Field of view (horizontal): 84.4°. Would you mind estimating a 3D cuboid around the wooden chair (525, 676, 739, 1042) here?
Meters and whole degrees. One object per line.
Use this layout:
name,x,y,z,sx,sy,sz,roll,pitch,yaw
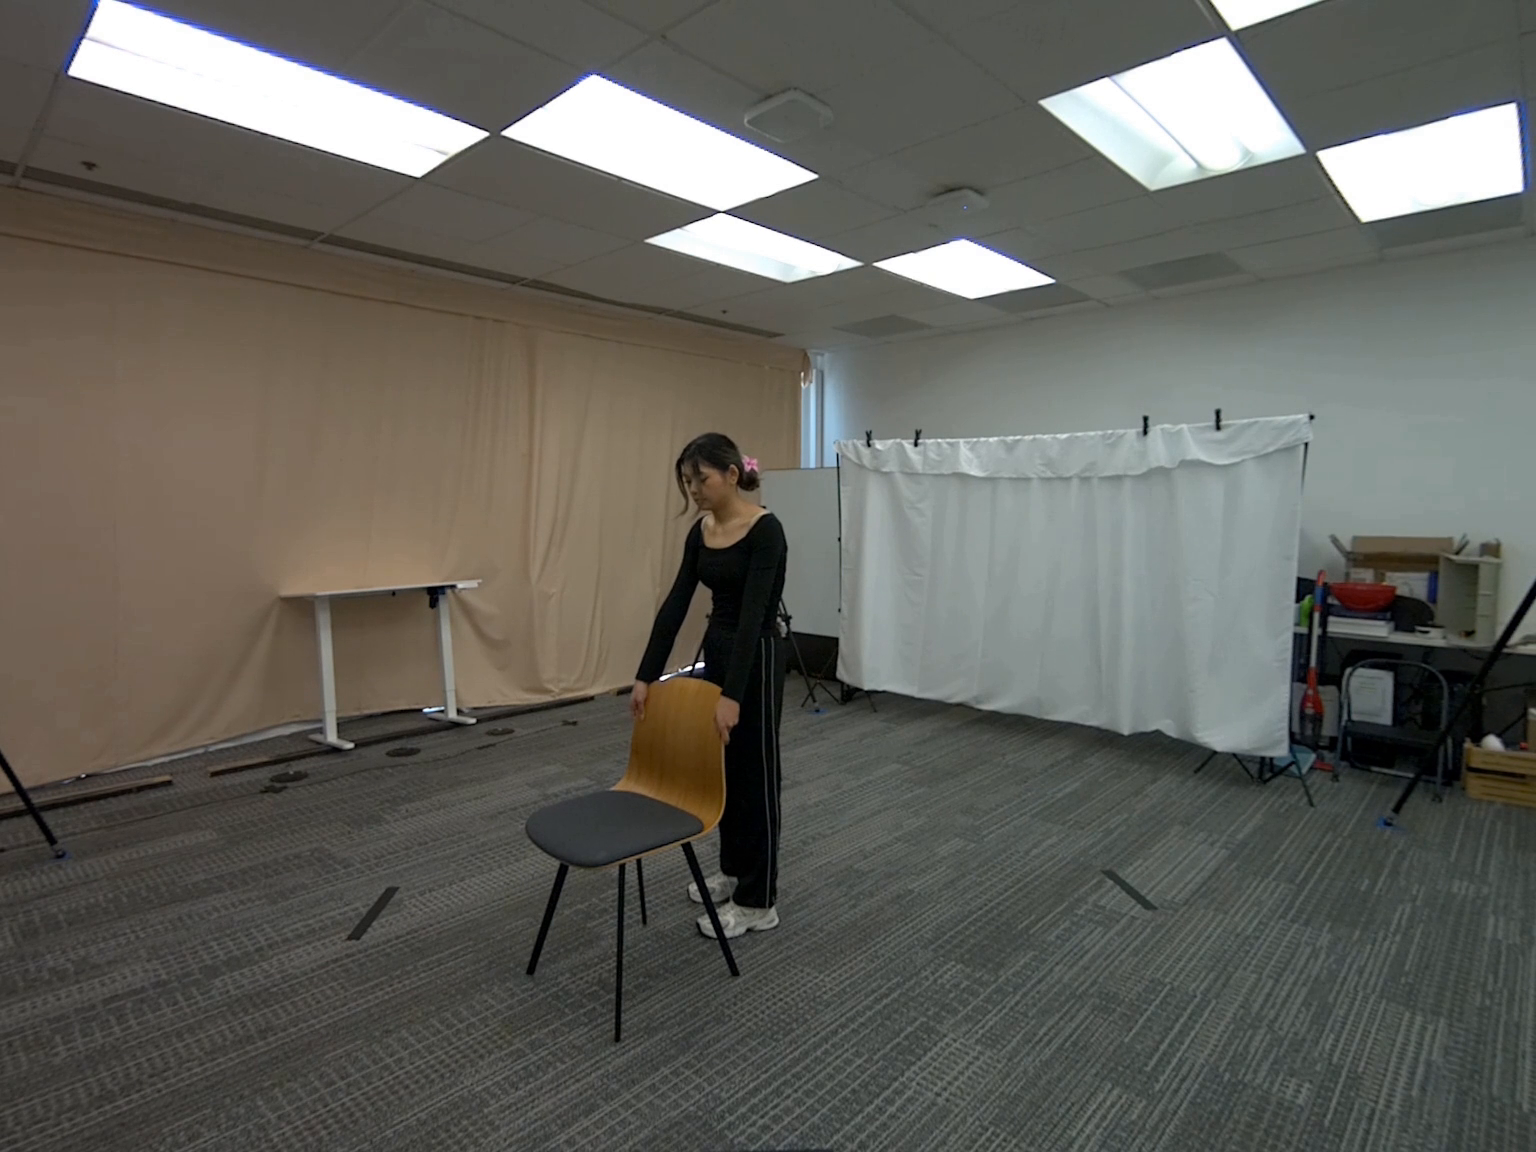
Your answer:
wooden chair,-0.404,0.764,2.466,0.506,0.877,0.494,3,1,-45
